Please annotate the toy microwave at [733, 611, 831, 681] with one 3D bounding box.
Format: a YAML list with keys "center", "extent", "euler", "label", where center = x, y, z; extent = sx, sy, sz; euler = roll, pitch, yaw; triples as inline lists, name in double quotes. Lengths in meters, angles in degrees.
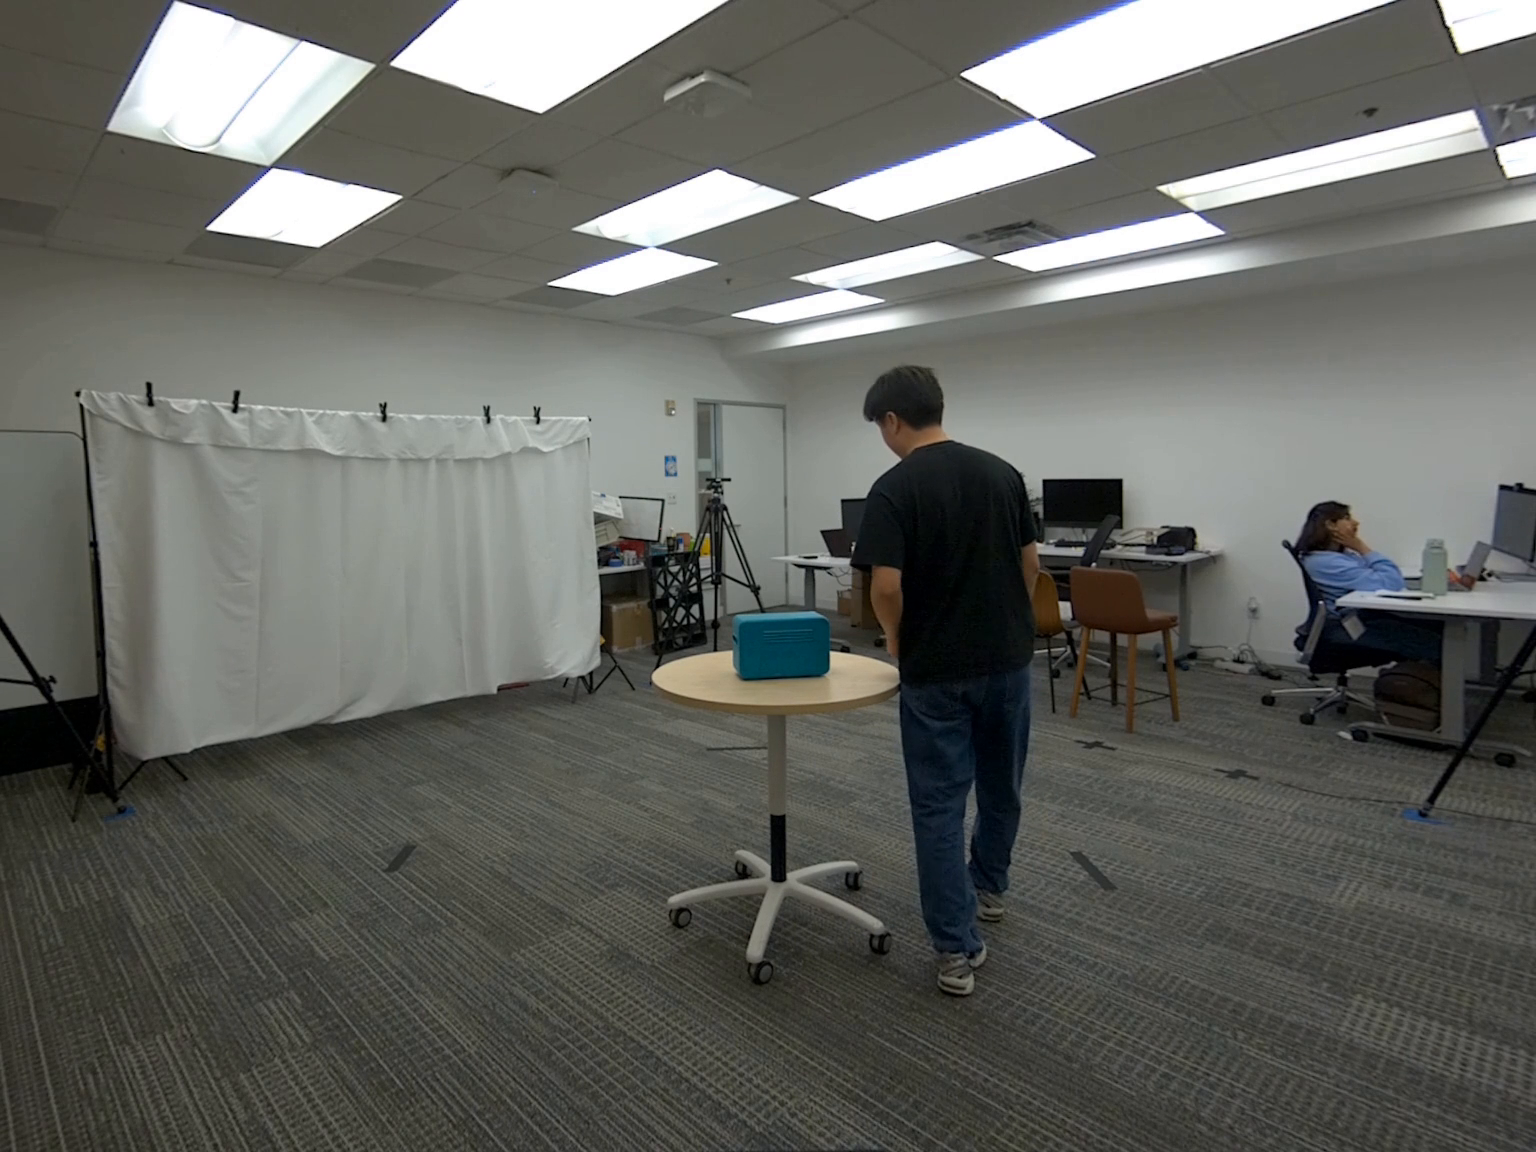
- center: [0.043, 0.210, 2.615]
  extent: [0.284, 0.183, 0.154]
  euler: [-2, 5, -8]
  label: "toy microwave"
